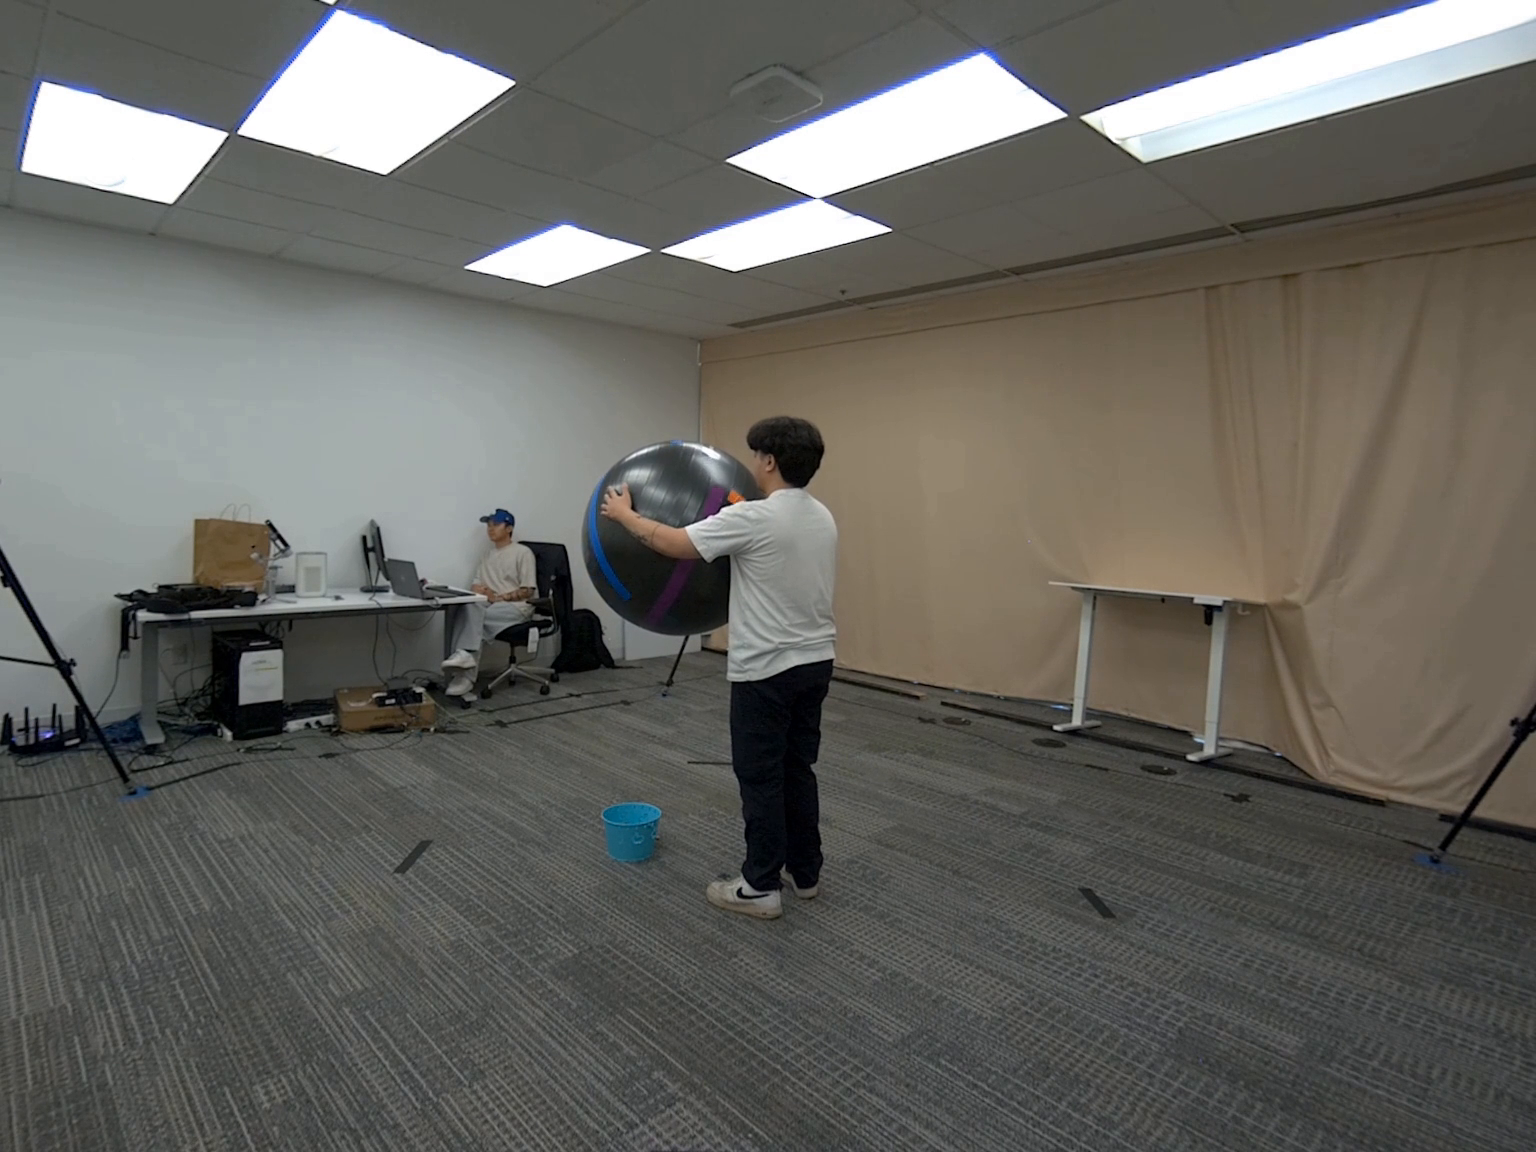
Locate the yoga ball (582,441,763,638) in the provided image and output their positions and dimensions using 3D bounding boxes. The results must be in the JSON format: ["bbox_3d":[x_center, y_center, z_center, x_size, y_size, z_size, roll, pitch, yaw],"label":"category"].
[{"bbox_3d":[-0.359,-0.144,3.296,0.757,0.756,0.760,1,4,-1],"label":"yoga ball"}]
